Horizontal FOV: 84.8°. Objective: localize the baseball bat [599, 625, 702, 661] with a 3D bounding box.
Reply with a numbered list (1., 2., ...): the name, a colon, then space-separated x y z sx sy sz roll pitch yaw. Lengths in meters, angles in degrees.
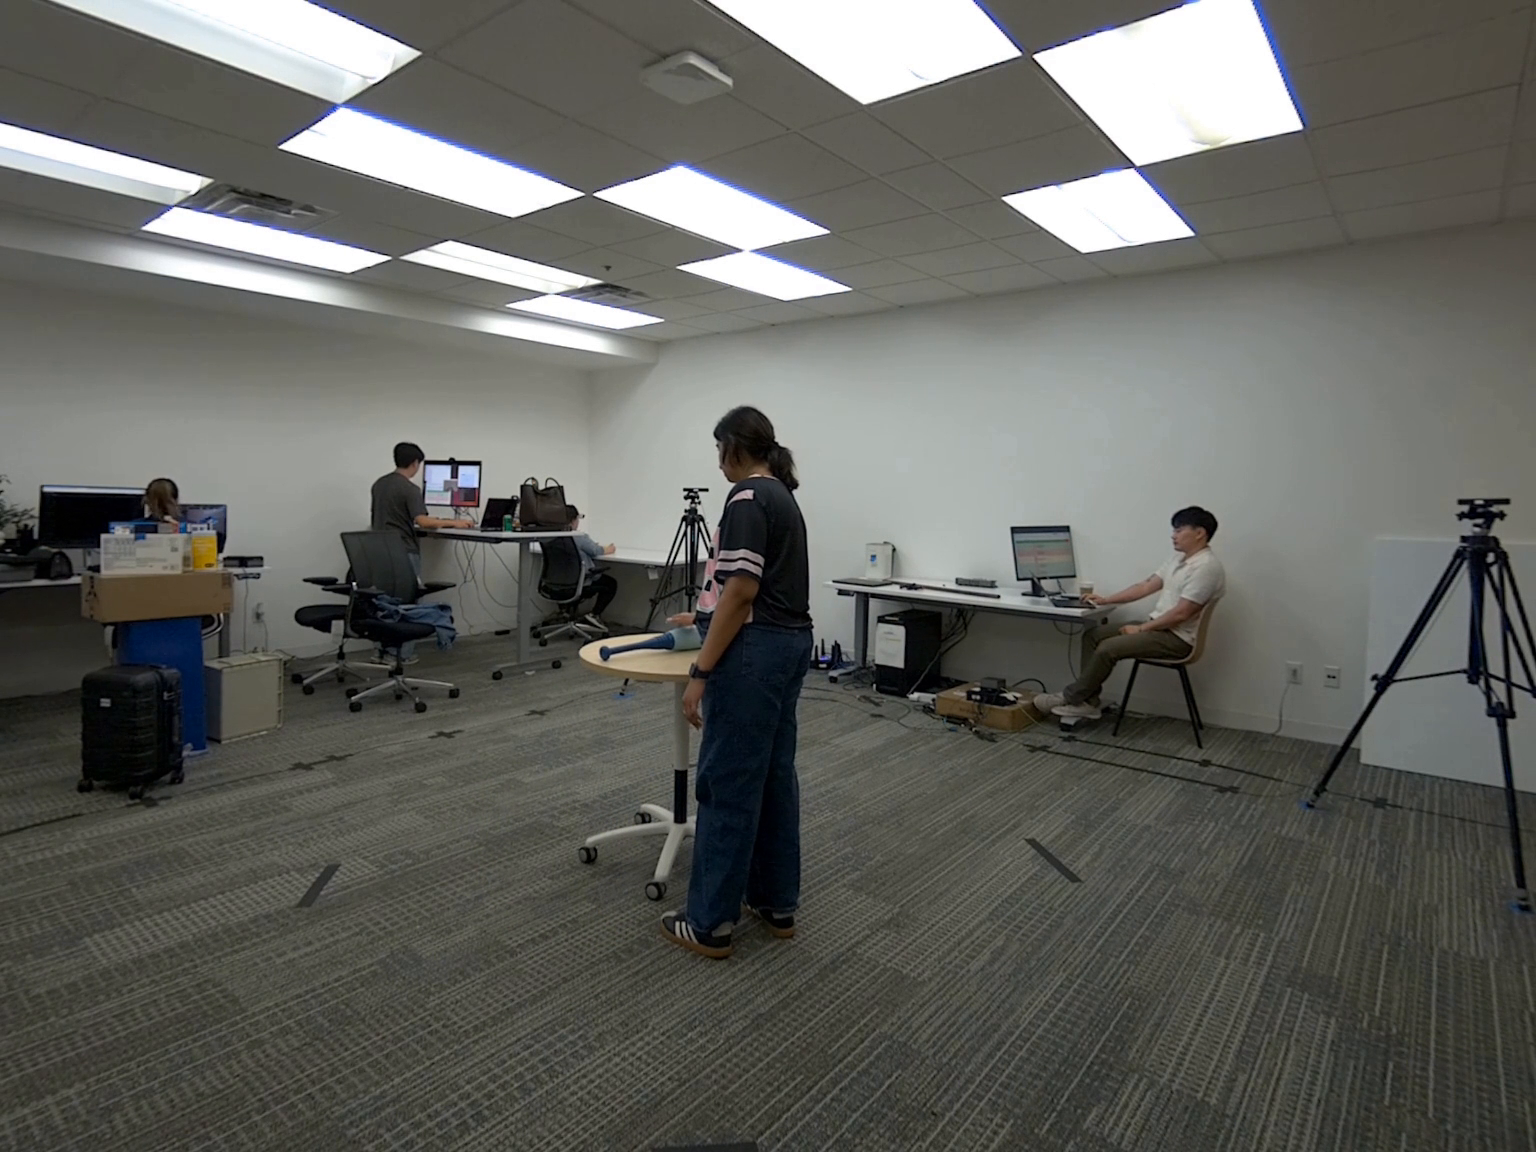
1. baseball bat: -0.393 0.244 3.132 0.528 0.088 0.092 -7 8 -38
